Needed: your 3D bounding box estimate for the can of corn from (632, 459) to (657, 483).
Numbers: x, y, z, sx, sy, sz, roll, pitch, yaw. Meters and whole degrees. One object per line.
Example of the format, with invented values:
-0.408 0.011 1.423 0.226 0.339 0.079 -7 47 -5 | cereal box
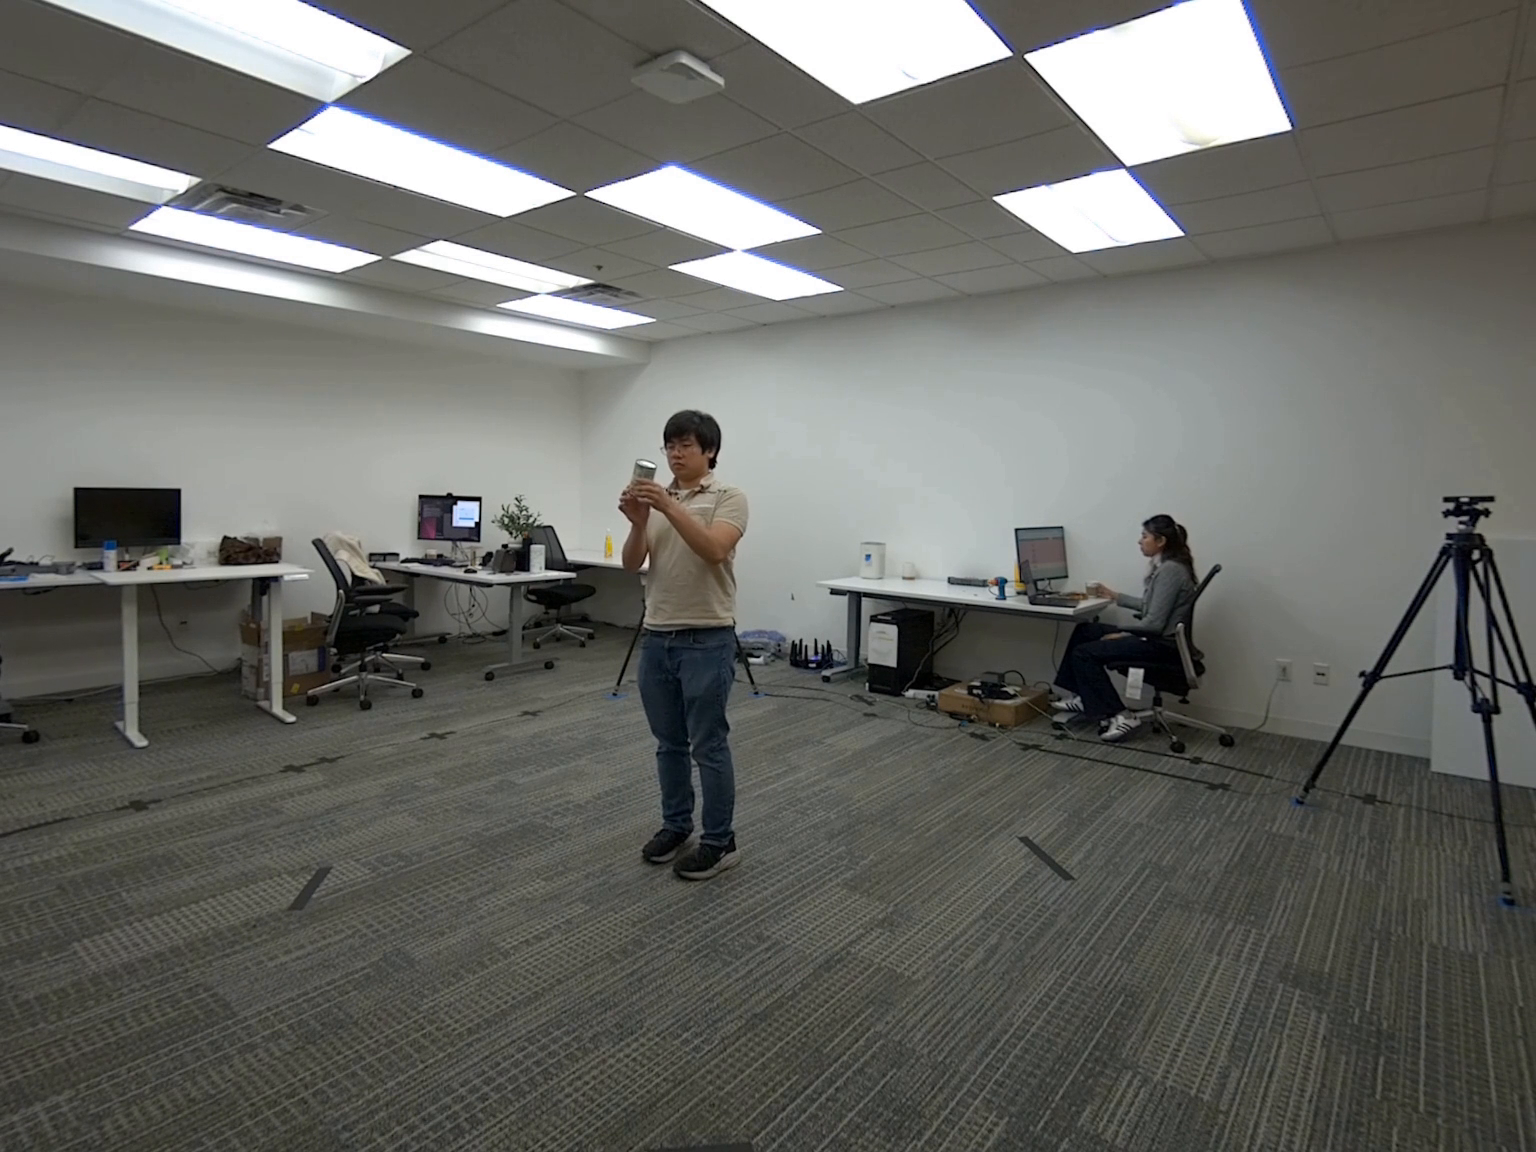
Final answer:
-0.440 -0.338 2.897 0.073 0.110 0.075 15 19 -7 | can of corn
